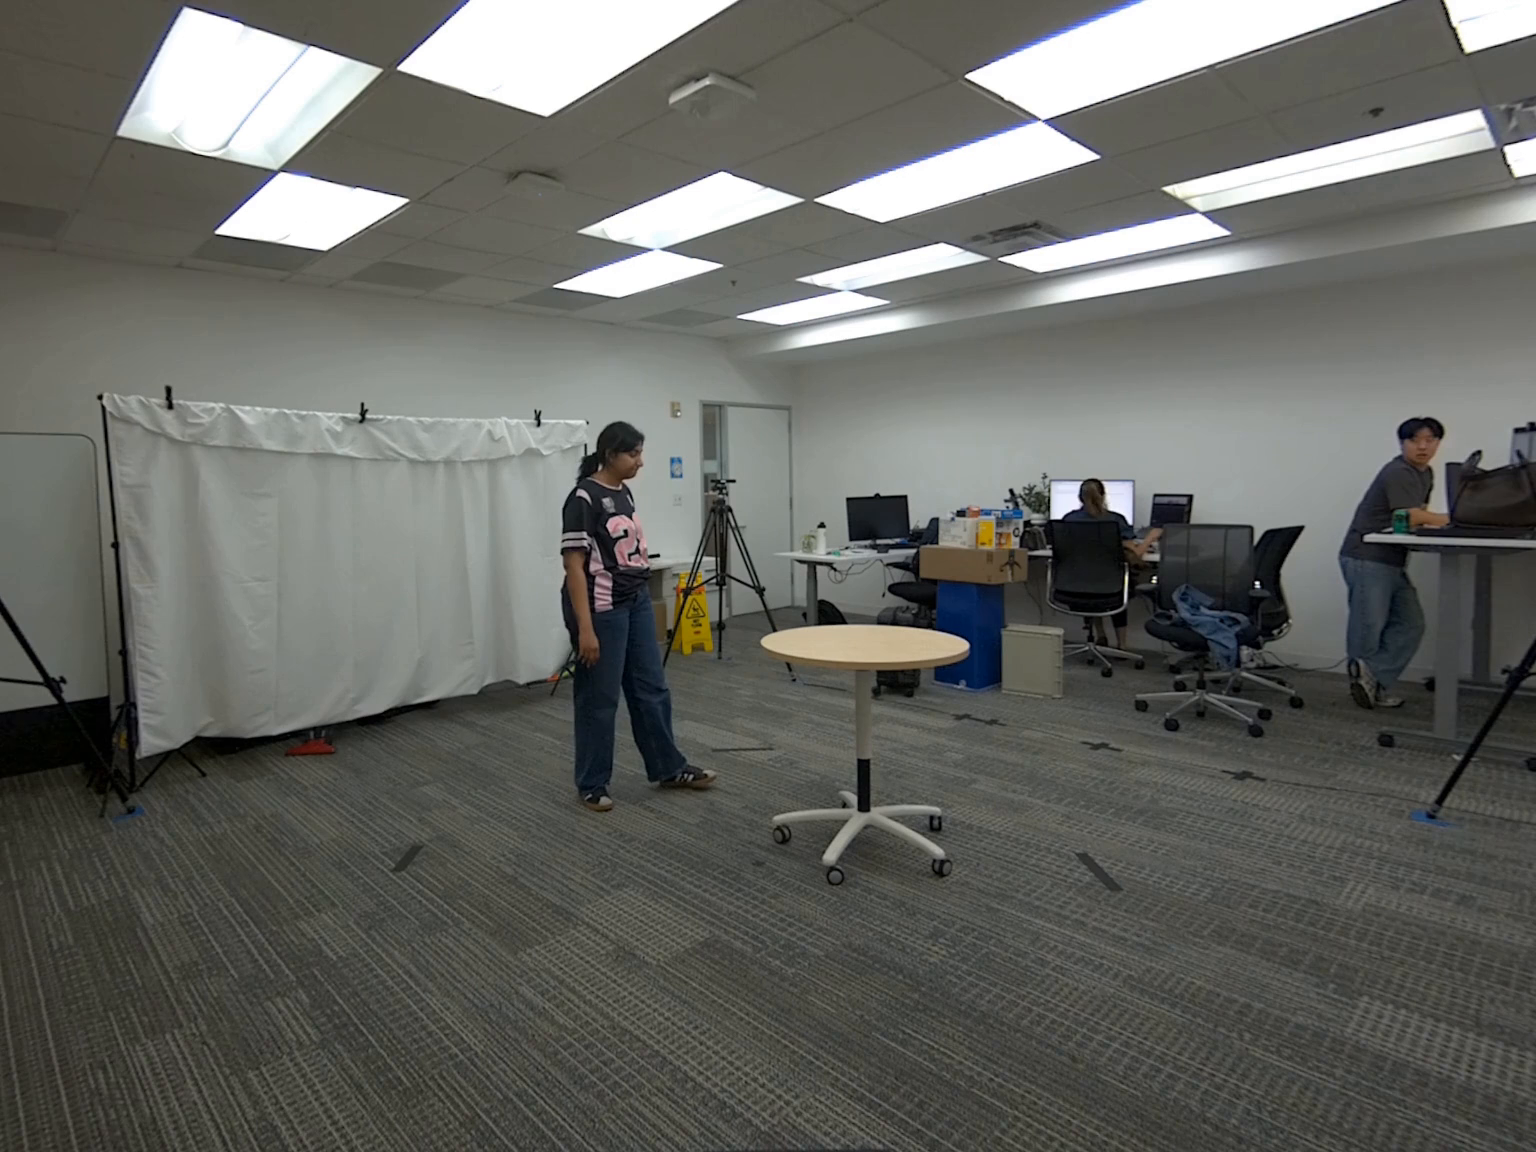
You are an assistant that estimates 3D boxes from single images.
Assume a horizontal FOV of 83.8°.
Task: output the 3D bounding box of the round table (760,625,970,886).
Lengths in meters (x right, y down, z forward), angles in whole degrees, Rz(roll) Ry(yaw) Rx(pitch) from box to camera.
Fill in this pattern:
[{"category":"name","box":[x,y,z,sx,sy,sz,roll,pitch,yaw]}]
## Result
[{"category":"round table","box":[0.365,0.634,3.226,0.784,0.783,0.789,-1,5,-2]}]
